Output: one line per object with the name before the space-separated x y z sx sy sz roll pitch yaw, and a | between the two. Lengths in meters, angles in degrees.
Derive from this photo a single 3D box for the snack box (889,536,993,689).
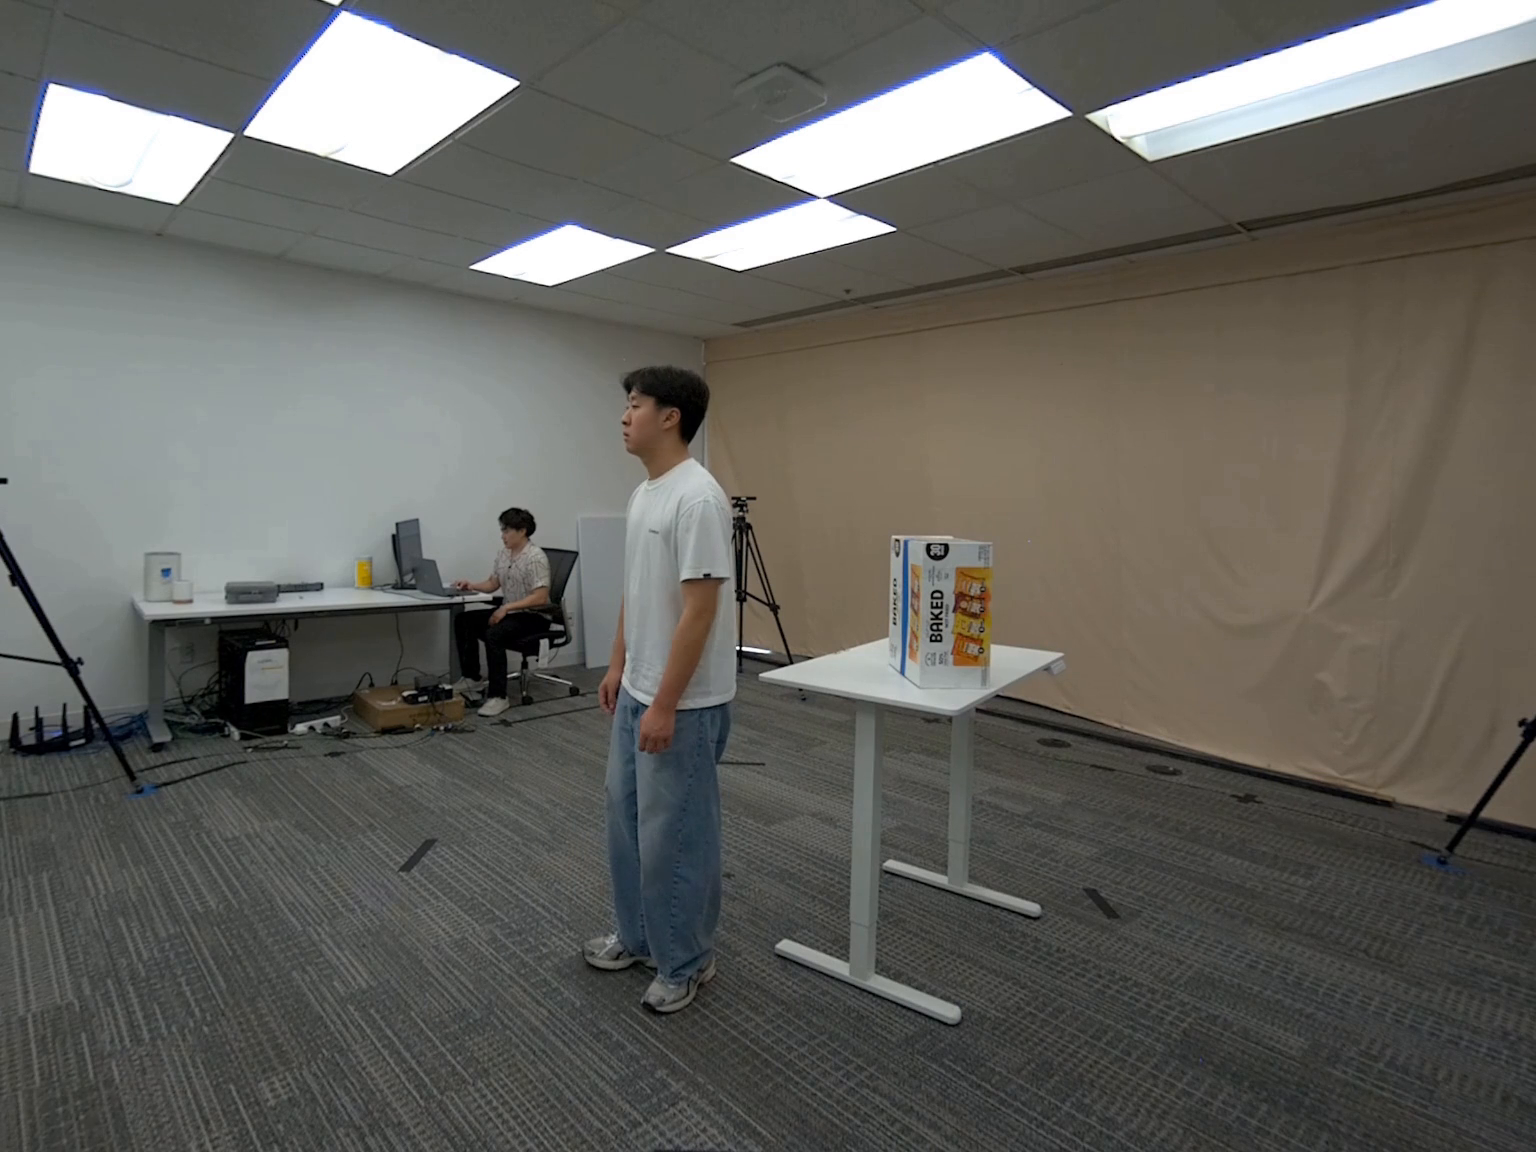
snack box | 0.496 0.093 2.485 0.205 0.404 0.342 0 3 -4
